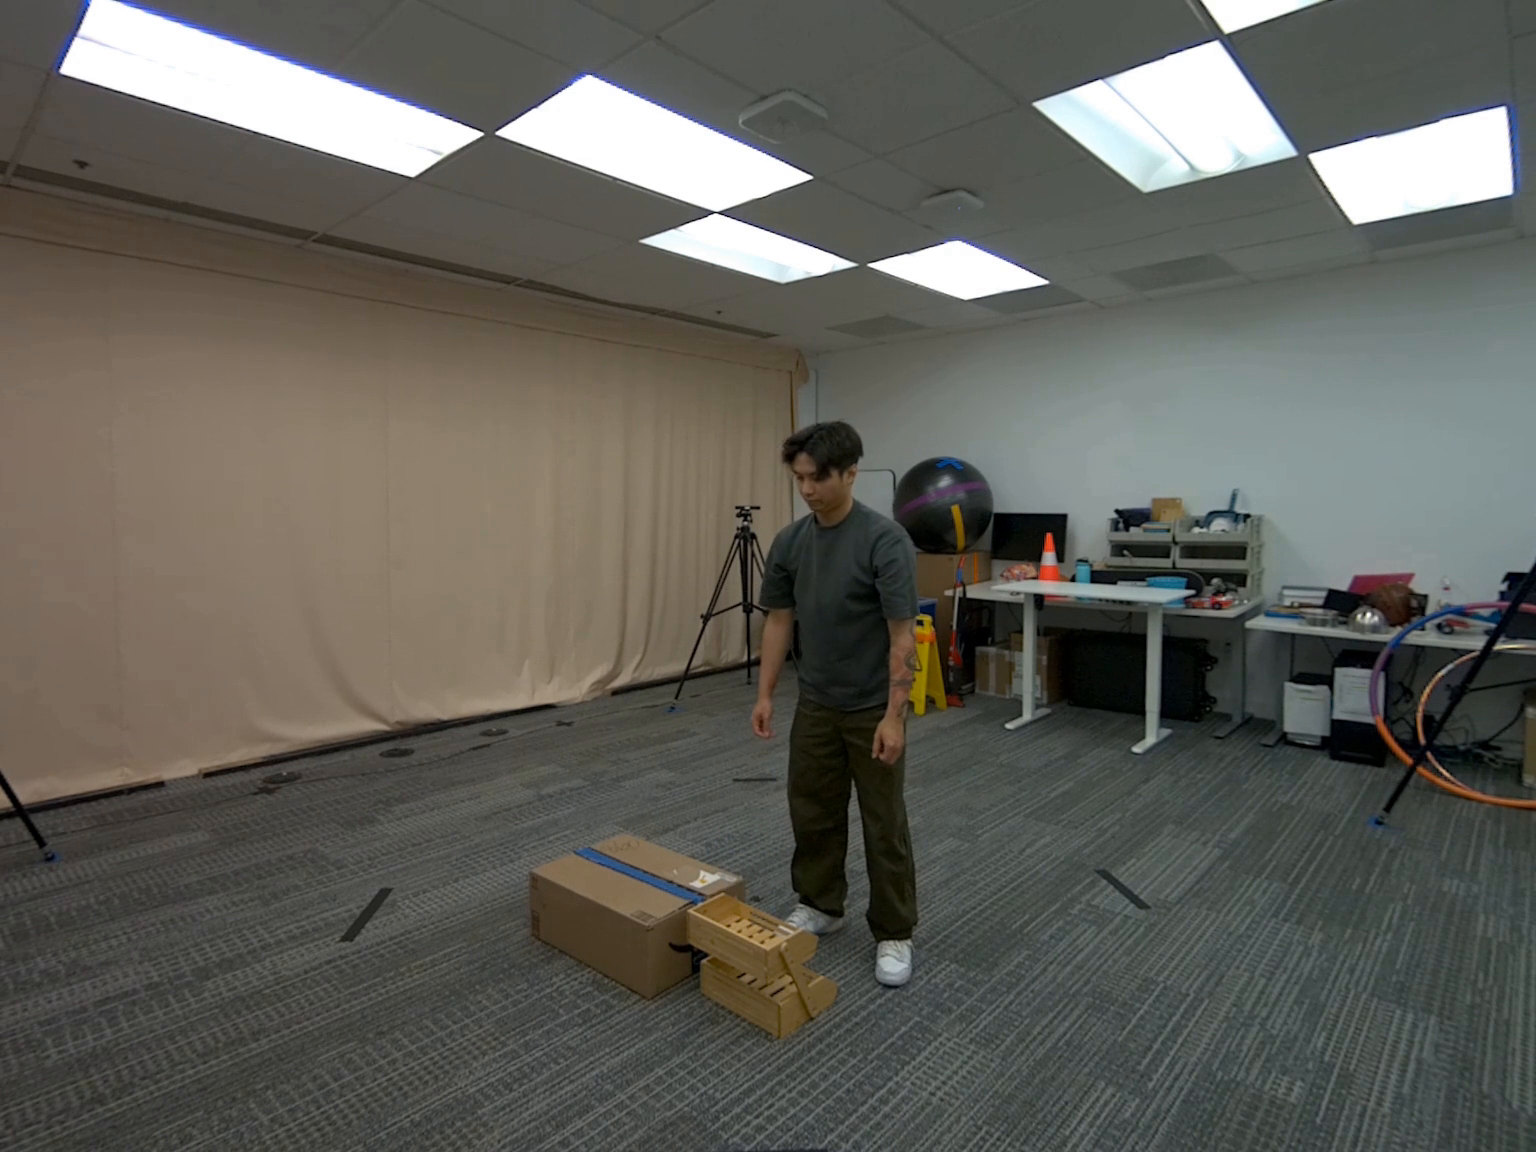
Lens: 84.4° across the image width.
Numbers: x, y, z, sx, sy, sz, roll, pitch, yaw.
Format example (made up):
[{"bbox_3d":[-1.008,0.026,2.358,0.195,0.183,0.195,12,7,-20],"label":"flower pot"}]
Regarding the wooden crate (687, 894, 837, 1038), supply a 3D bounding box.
[{"bbox_3d":[-0.006,1.058,2.366,0.335,0.272,0.293,5,6,43],"label":"wooden crate"}]
